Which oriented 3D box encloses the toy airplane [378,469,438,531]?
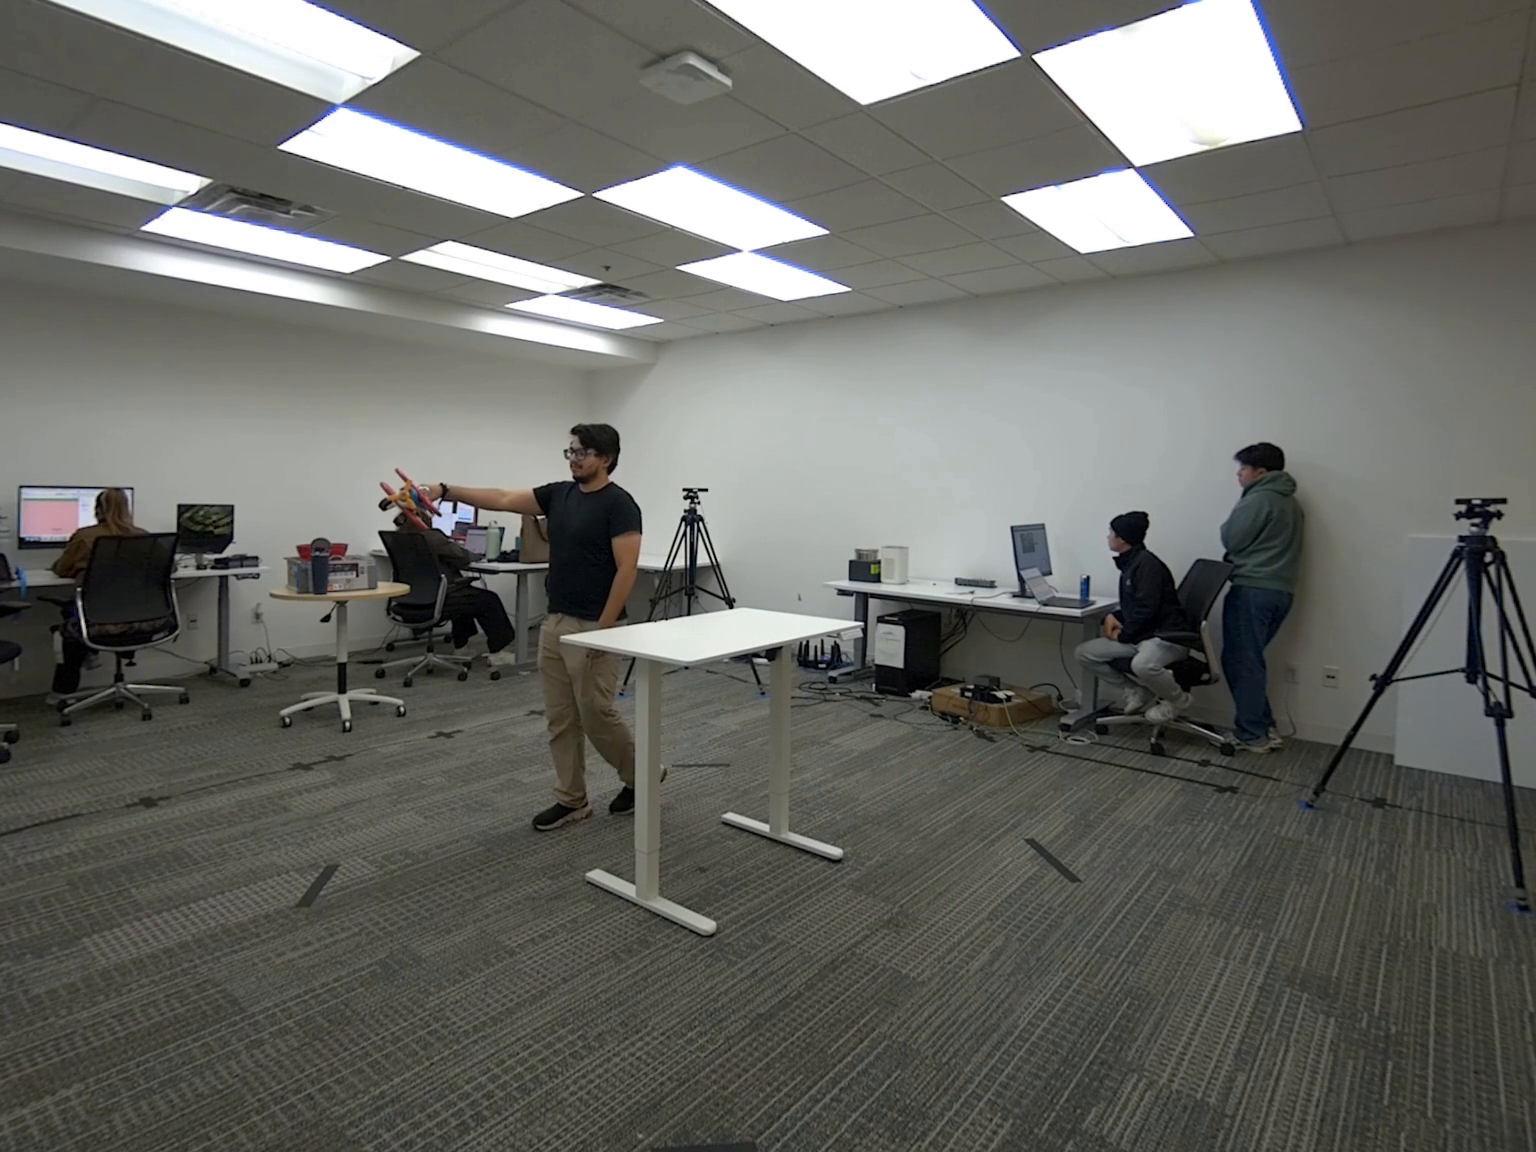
[{"bbox_3d":[-1.435,-0.303,3.368,0.243,0.156,0.267,43,6,-25],"label":"toy airplane"}]
